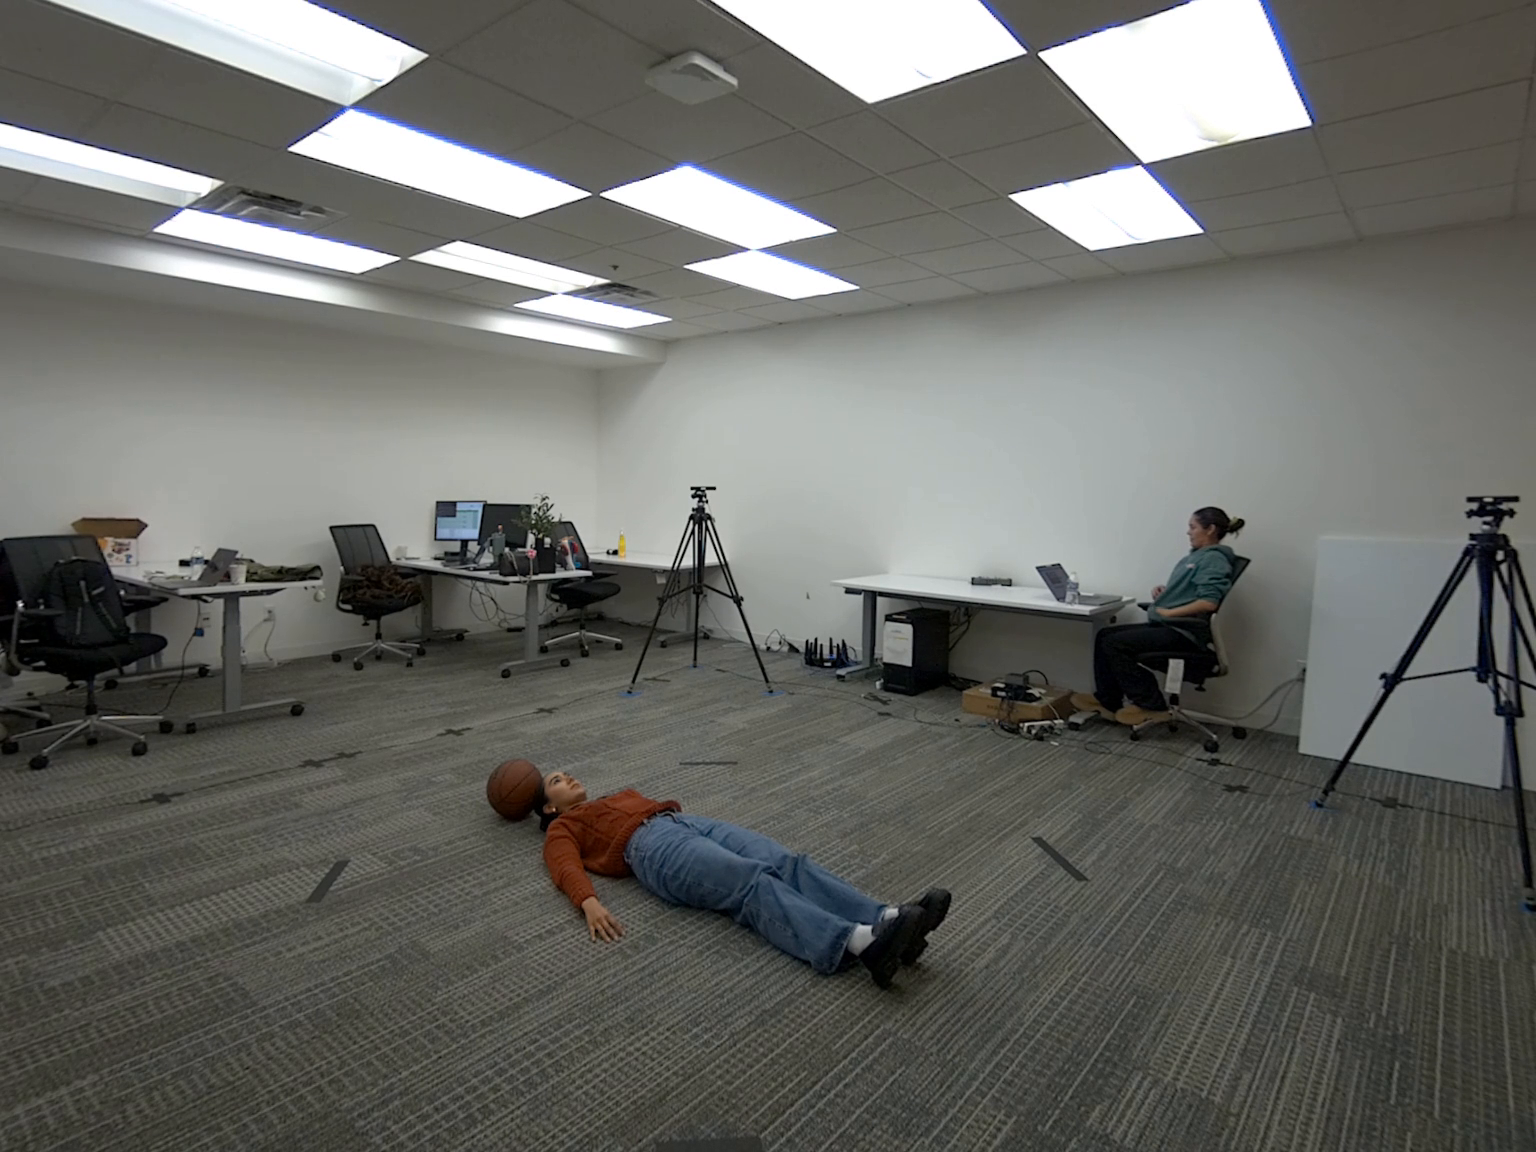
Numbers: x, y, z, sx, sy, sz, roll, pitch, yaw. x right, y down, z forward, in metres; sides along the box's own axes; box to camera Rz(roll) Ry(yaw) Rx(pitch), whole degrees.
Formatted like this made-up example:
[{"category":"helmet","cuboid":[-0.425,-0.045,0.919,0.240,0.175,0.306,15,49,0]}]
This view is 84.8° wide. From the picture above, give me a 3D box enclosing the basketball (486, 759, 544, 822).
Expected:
[{"category":"basketball","cuboid":[-1.065,0.886,3.563,0.236,0.235,0.237,-3,3,-2]}]
